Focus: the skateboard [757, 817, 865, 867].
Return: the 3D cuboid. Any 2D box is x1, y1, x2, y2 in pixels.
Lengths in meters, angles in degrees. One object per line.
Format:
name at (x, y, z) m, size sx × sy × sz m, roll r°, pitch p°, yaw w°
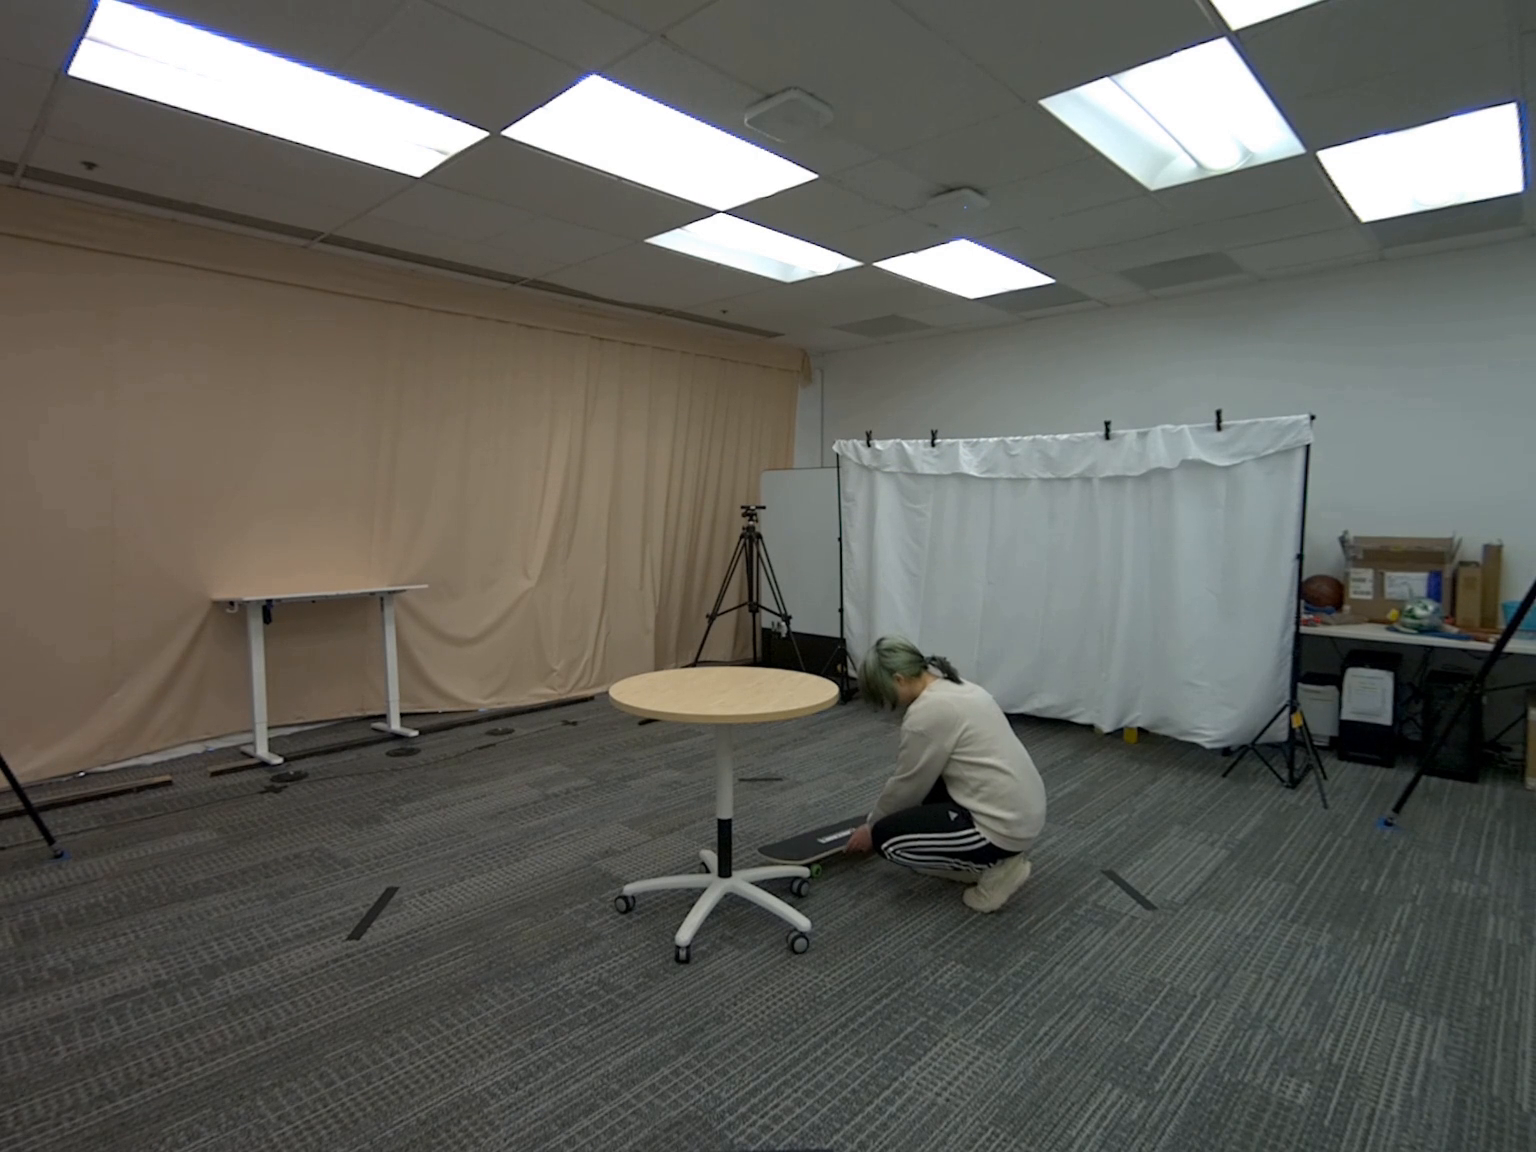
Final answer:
skateboard at (0.274, 1.055, 3.308) m, size 0.762 × 0.110 × 0.200 m, roll -3°, pitch 5°, yaw -39°
